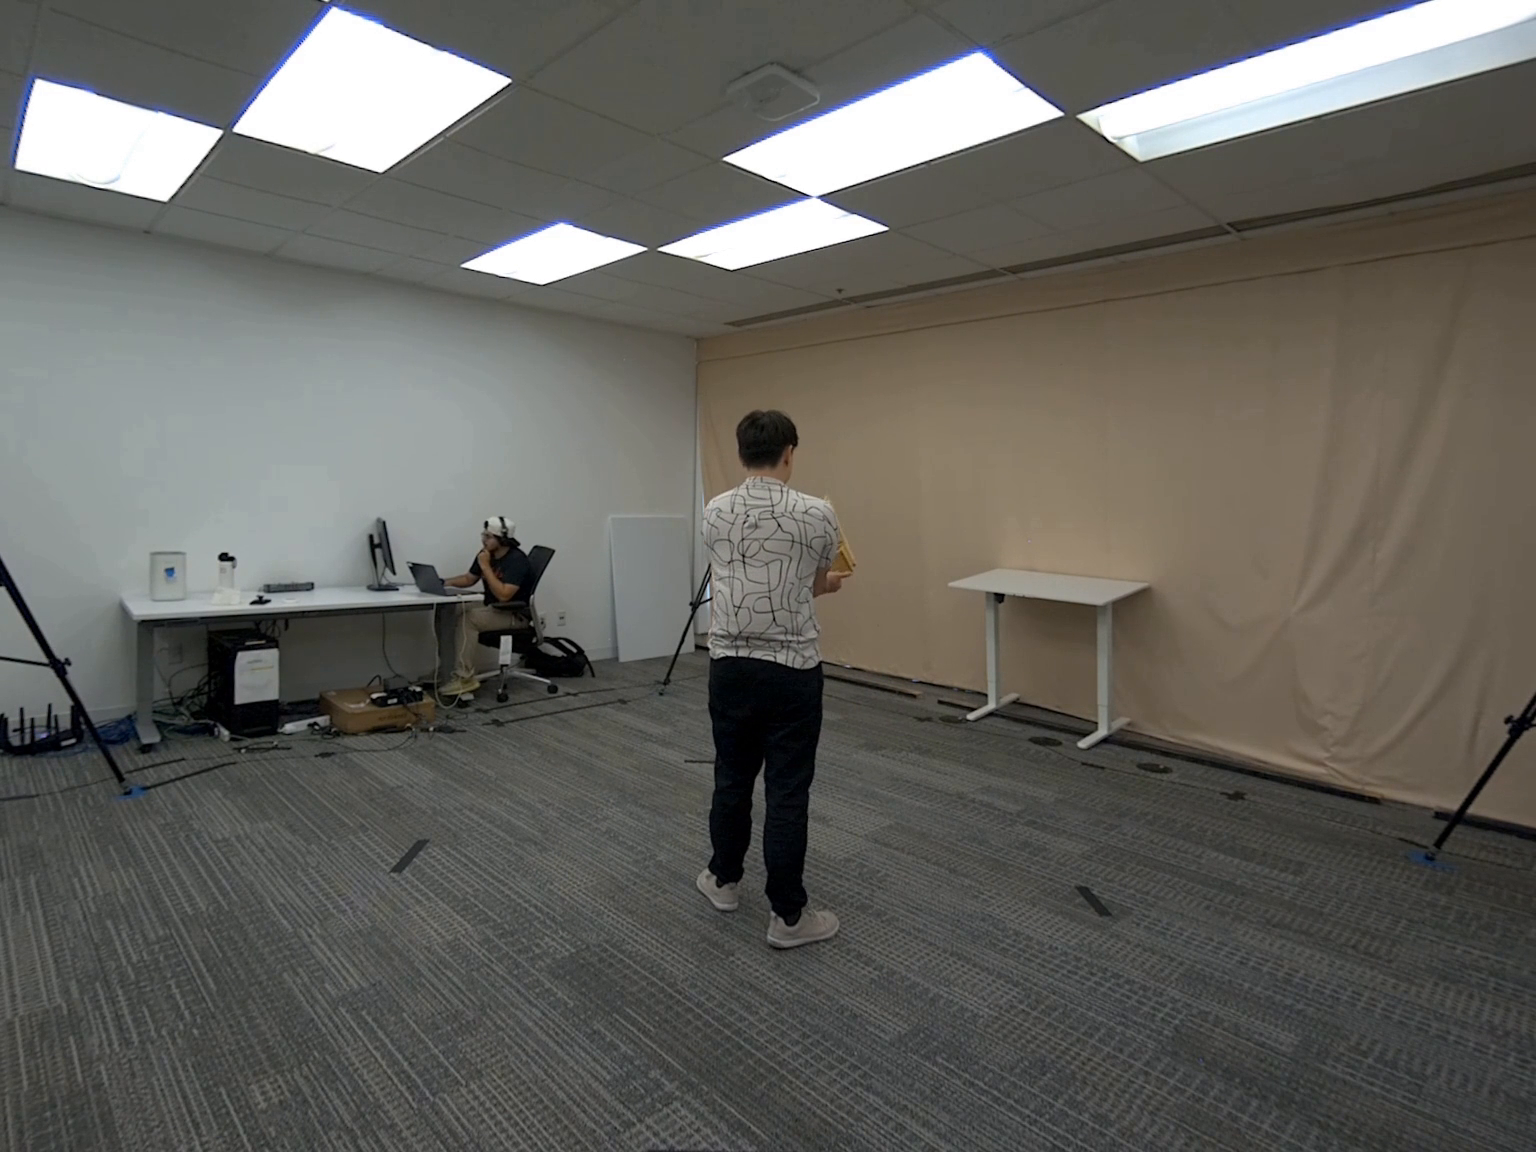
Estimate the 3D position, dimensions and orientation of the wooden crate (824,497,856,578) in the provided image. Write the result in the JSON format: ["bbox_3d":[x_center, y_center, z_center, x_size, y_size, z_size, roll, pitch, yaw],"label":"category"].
[{"bbox_3d":[0.148,-0.099,3.245,0.326,0.271,0.303,-28,9,18],"label":"wooden crate"}]
